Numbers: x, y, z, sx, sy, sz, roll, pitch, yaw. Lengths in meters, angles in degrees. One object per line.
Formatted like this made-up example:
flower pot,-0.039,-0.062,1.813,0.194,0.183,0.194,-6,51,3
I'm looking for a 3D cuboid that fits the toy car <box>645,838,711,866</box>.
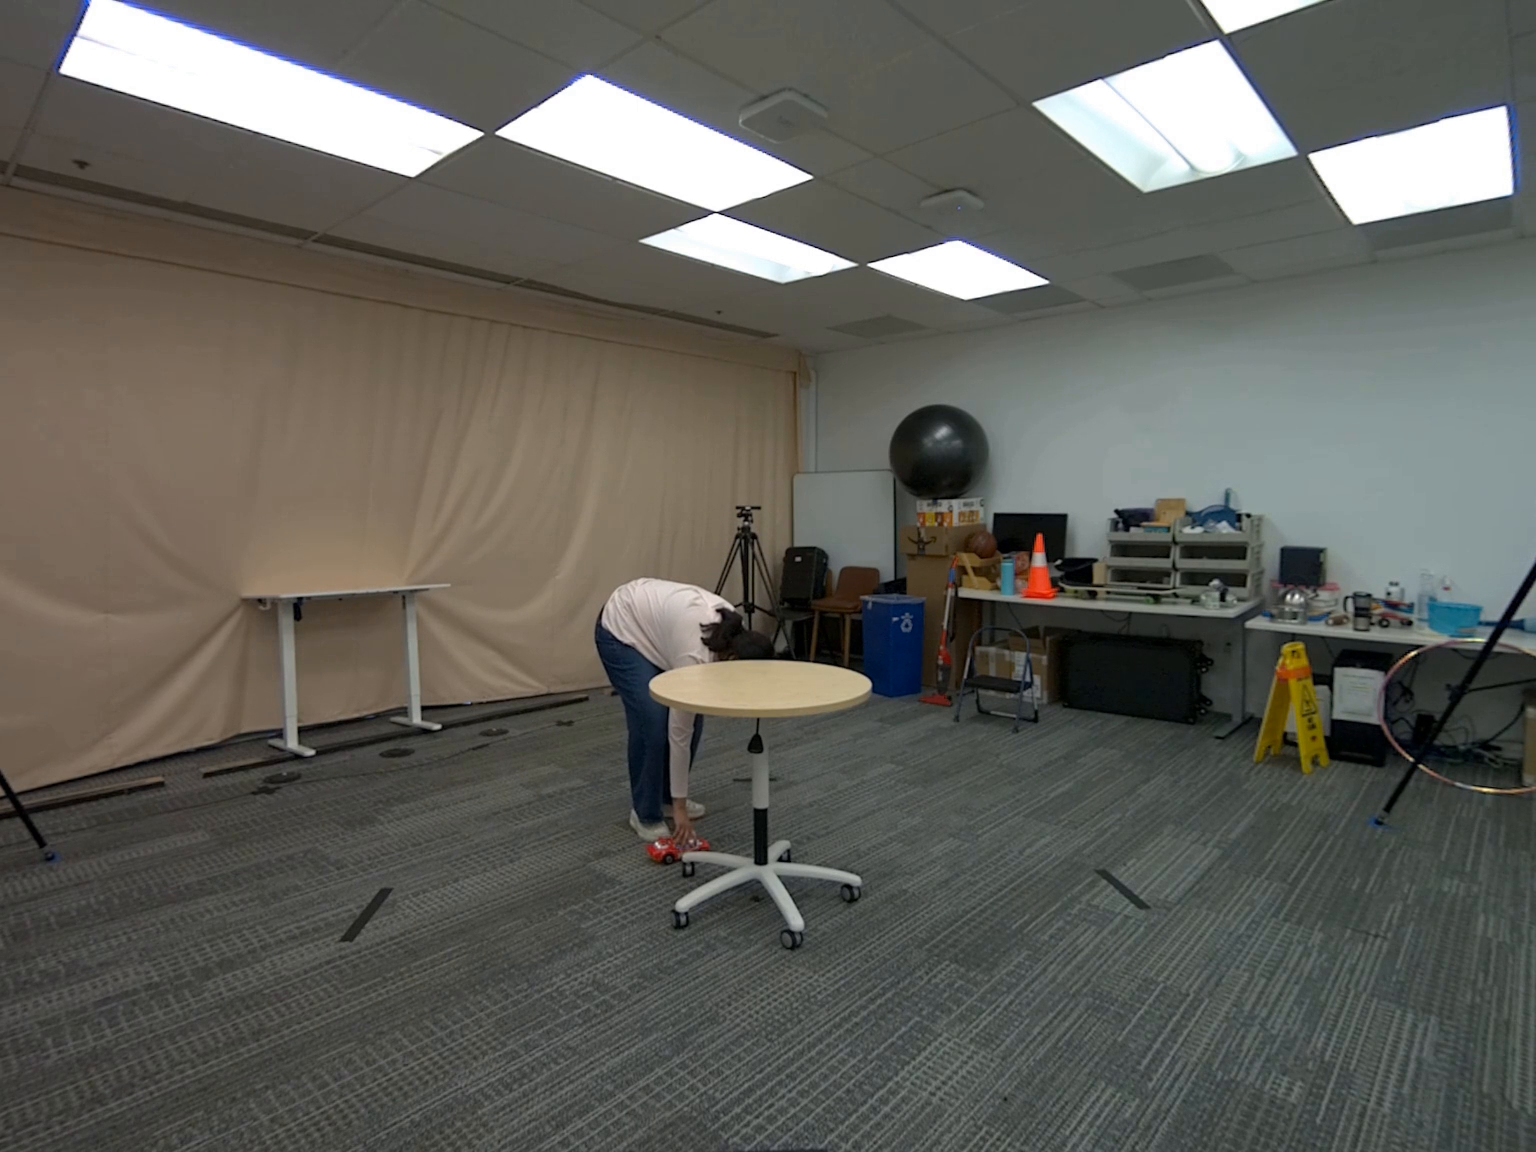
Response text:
toy car,-0.363,1.088,3.338,0.249,0.083,0.133,10,0,-21
